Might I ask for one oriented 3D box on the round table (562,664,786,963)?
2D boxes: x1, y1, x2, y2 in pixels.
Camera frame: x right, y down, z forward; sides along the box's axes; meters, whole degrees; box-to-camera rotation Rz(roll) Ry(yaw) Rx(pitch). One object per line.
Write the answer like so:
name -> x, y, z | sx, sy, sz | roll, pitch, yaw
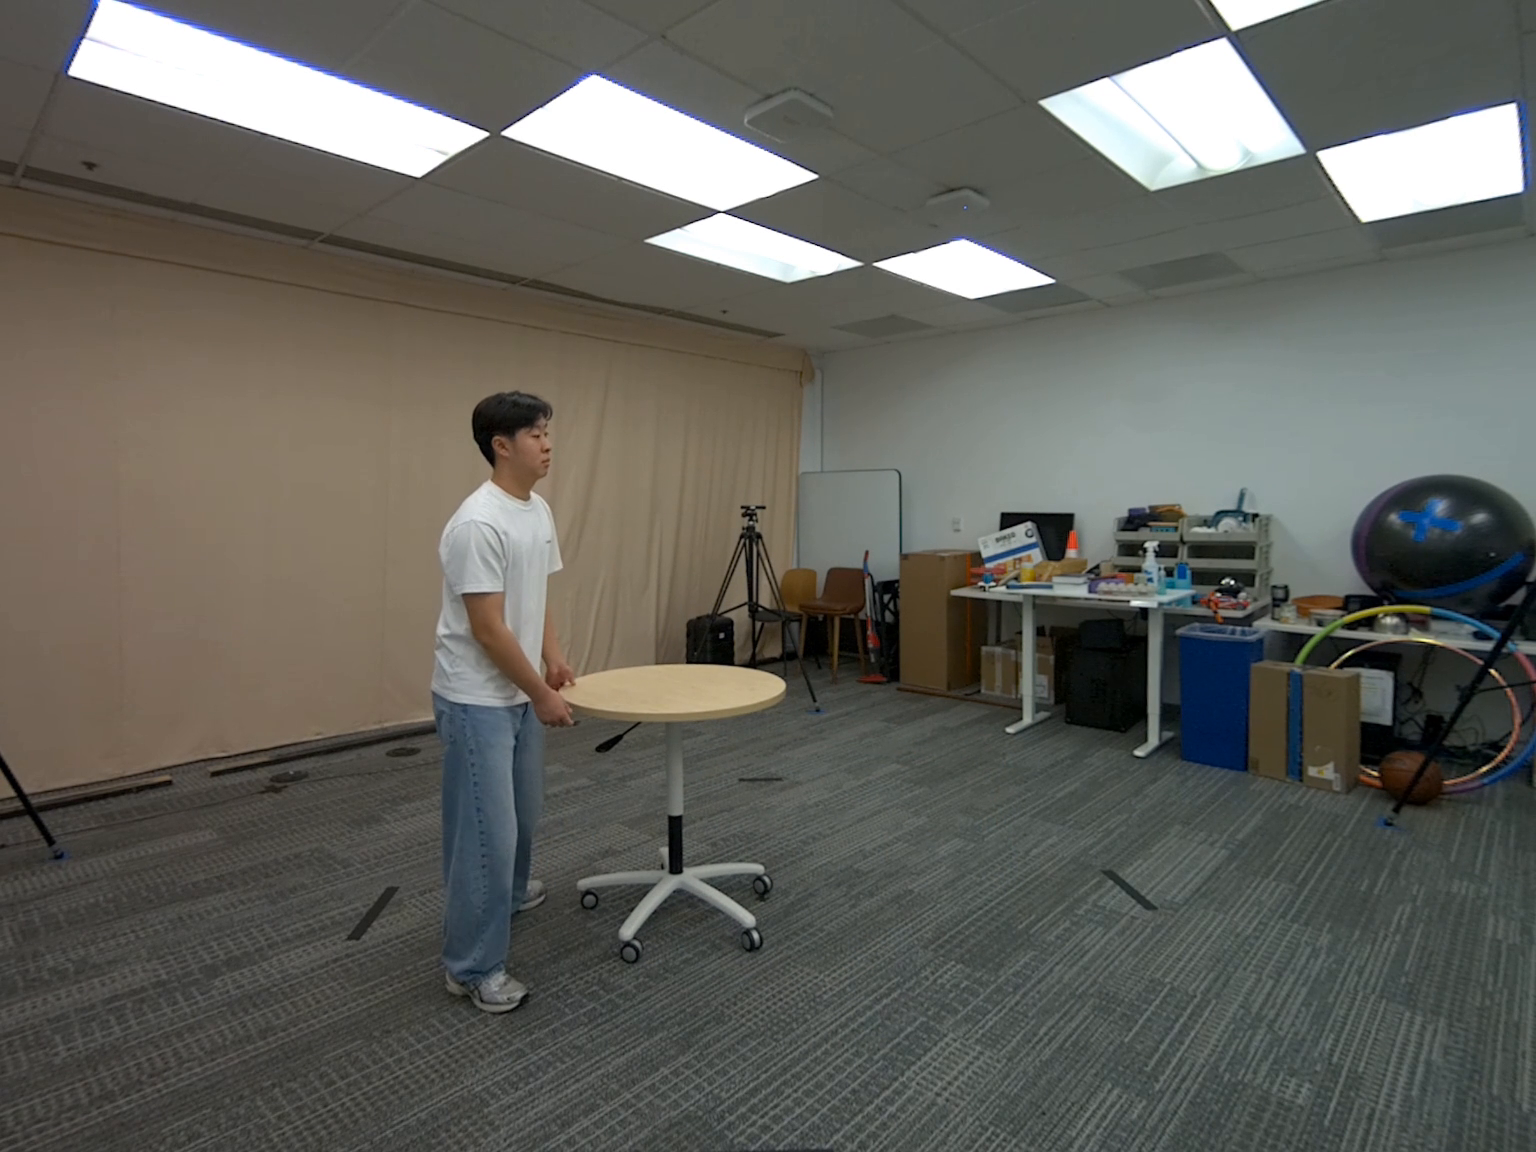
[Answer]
round table -> -0.314, 0.767, 2.873 | 0.763, 0.792, 0.766 | -1, 4, -2
